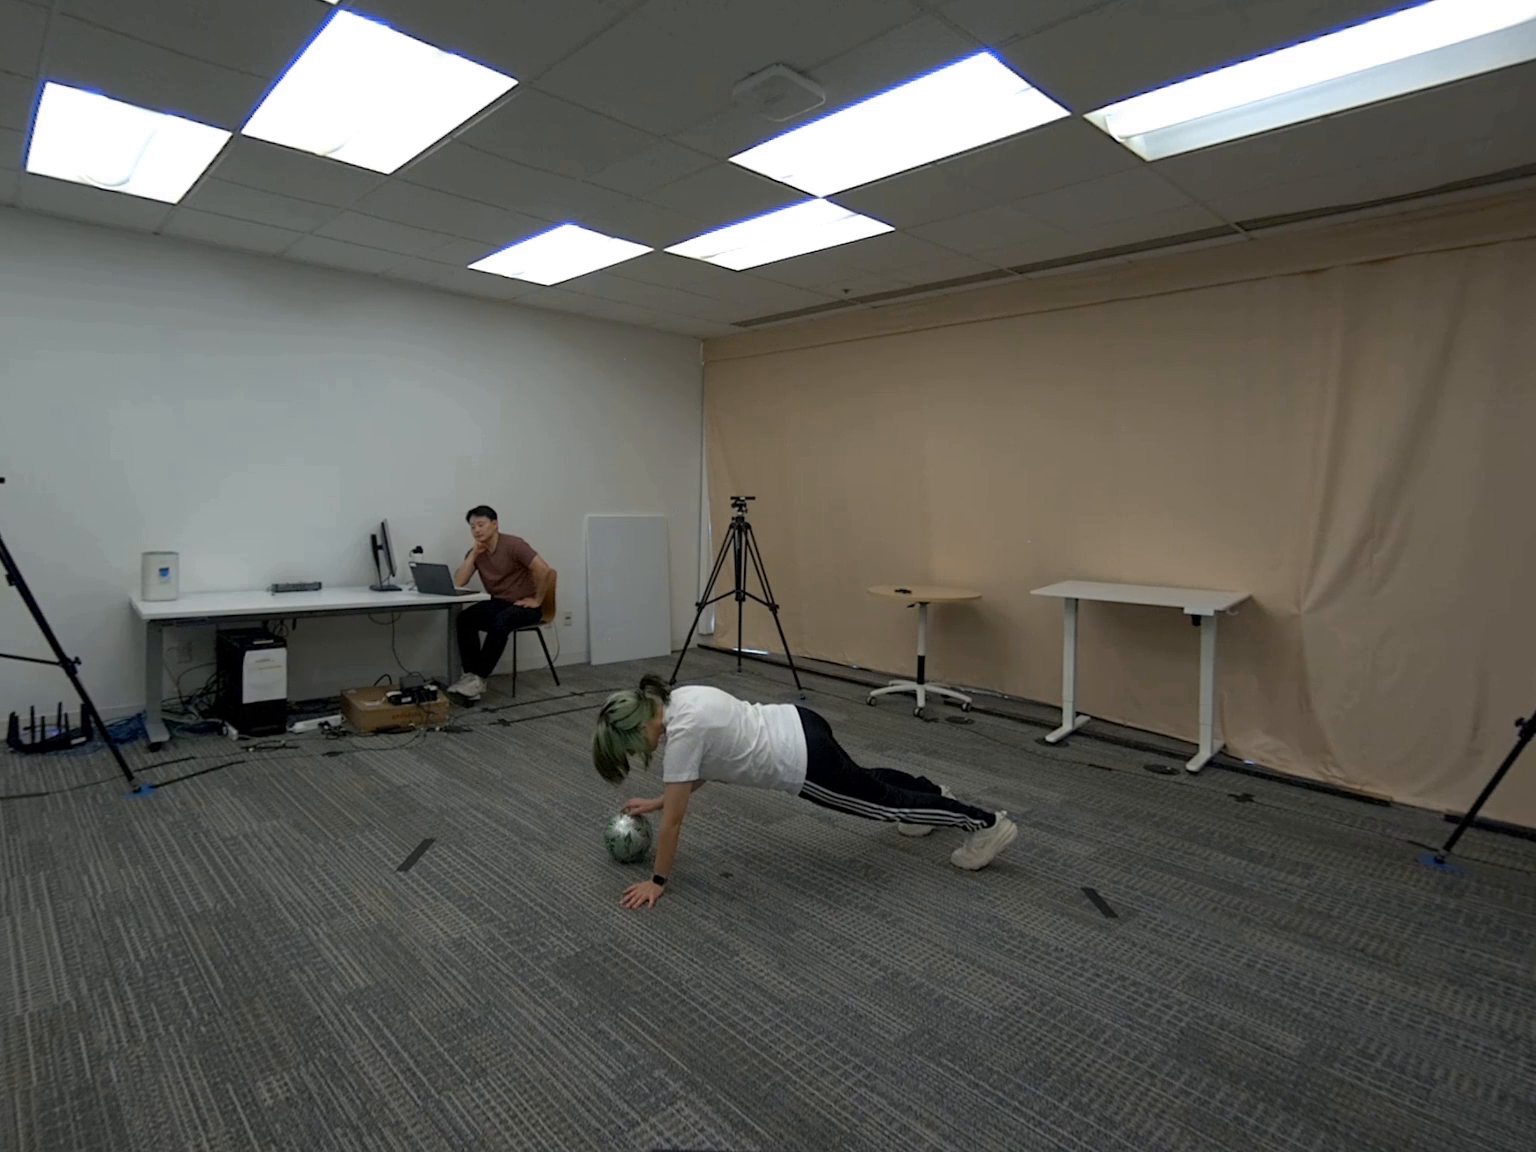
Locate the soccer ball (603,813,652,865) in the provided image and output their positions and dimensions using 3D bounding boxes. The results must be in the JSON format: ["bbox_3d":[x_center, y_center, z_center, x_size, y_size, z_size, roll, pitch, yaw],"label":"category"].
[{"bbox_3d":[-0.535,0.988,3.214,0.187,0.187,0.188,1,4,-1],"label":"soccer ball"}]
